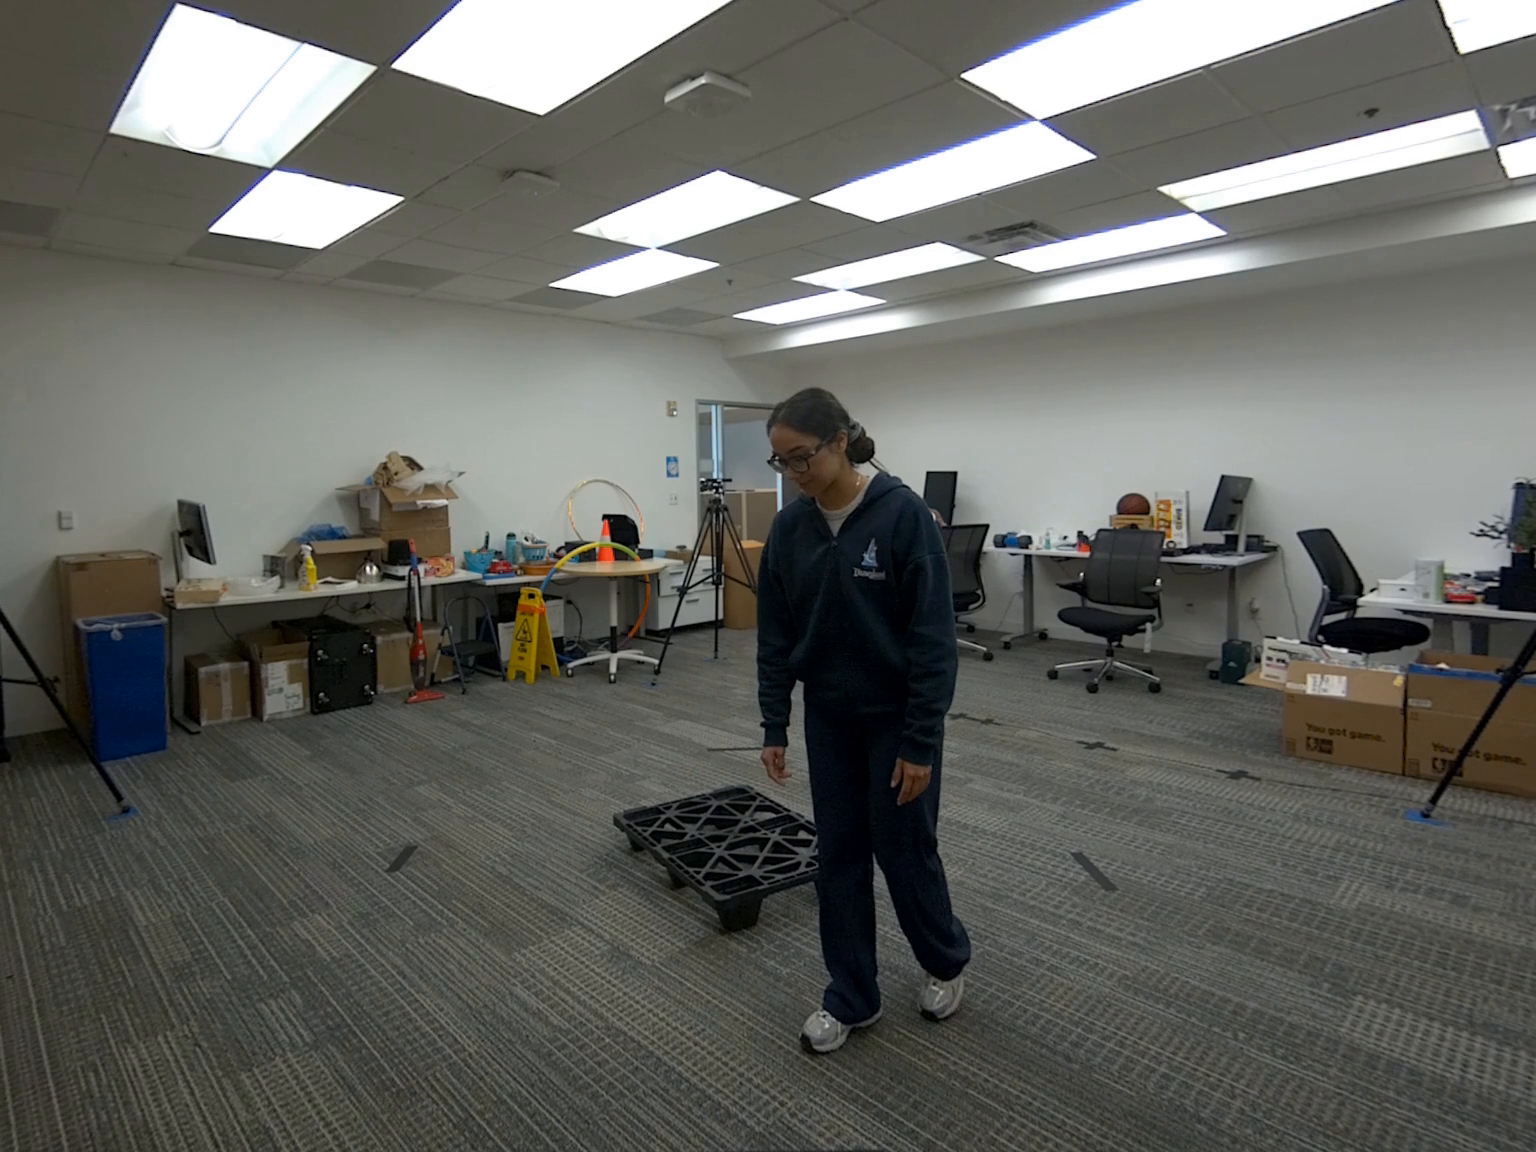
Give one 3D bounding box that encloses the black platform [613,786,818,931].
[{"bbox_3d":[-0.123,0.985,3.054,0.591,0.142,0.829,-6,8,-32],"label":"black platform"}]
